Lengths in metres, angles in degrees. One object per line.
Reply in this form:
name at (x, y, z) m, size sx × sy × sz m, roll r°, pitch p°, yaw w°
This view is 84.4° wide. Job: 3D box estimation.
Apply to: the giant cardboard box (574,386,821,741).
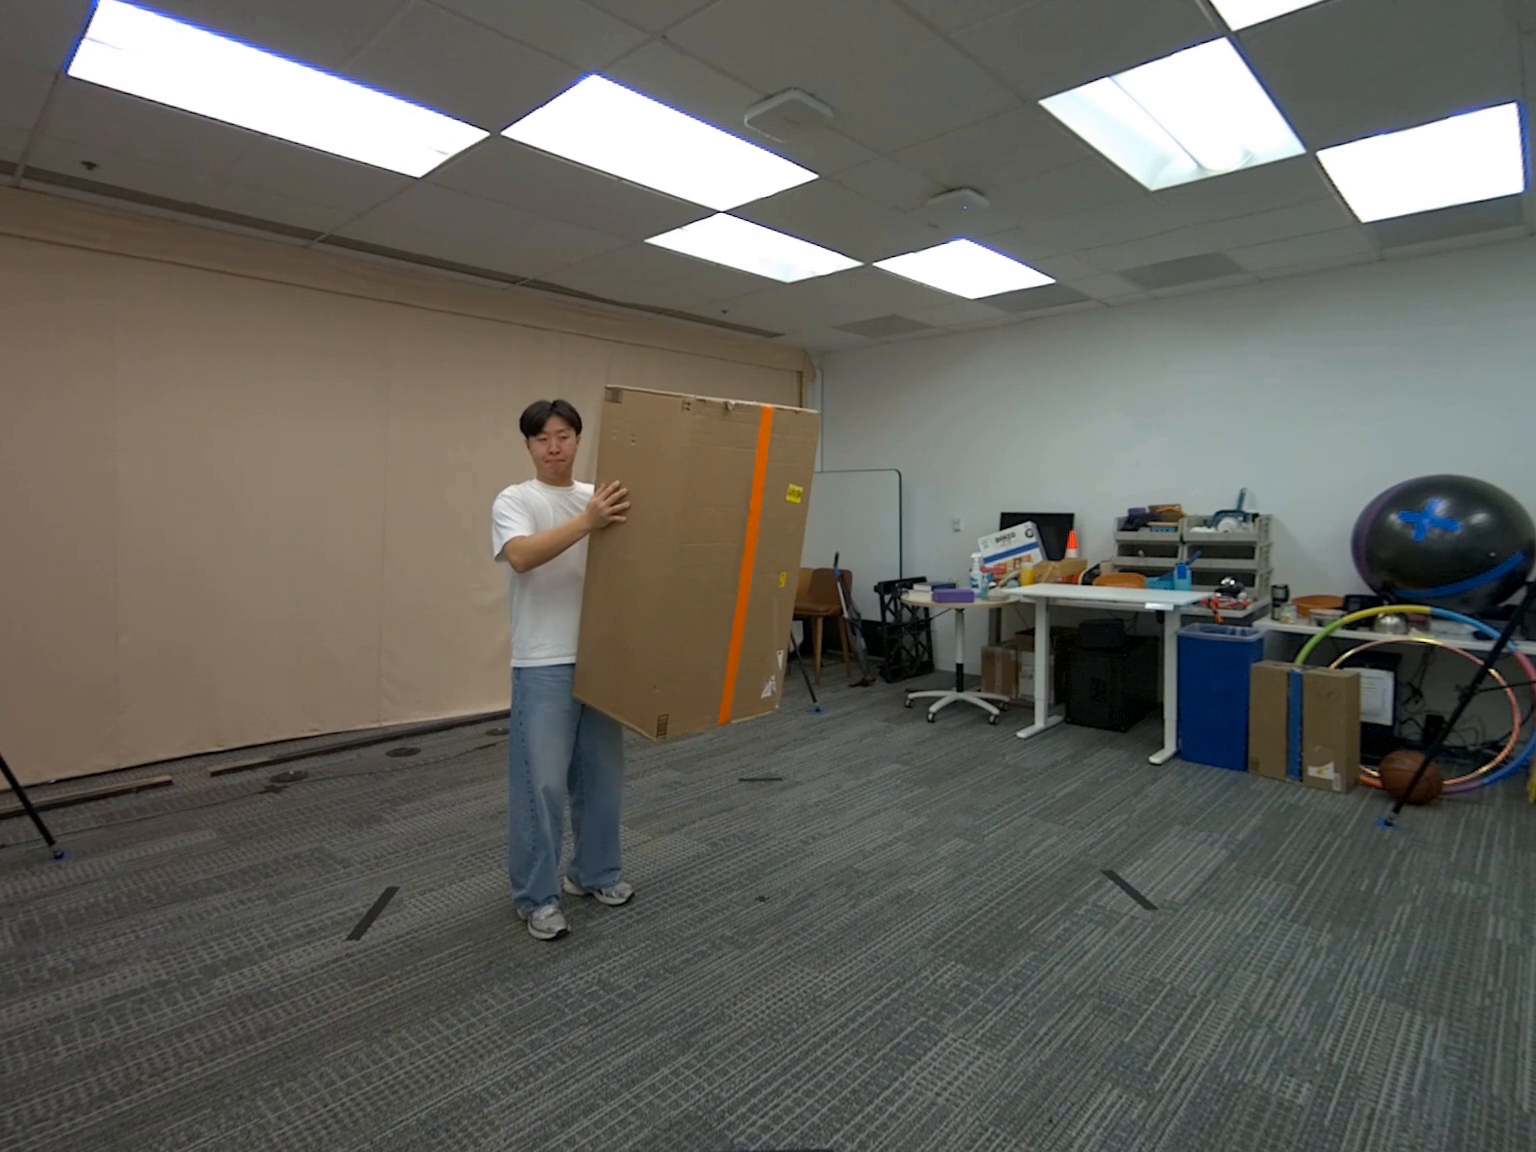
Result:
giant cardboard box at (-0.231, -0.064, 2.738) m, size 0.442 × 1.021 × 0.560 m, roll 16°, pitch 13°, yaw 41°
